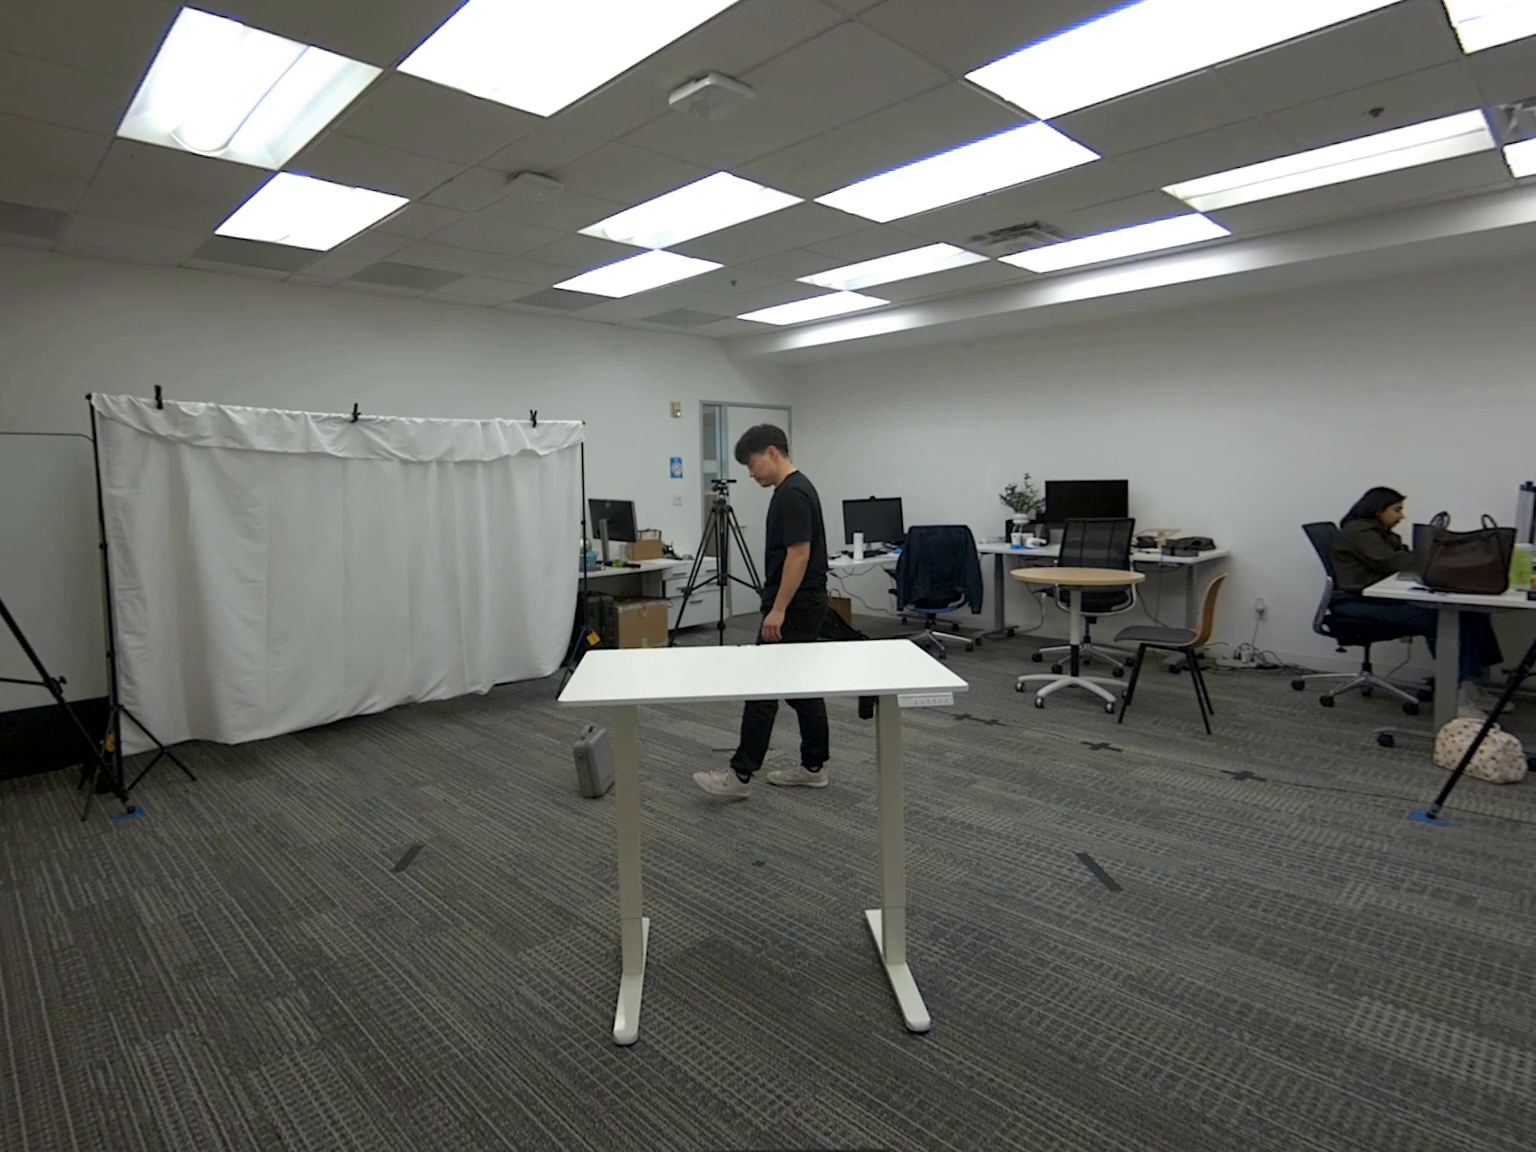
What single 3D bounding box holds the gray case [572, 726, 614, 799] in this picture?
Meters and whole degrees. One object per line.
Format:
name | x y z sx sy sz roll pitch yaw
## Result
gray case | -0.788 0.841 3.898 0.105 0.260 0.256 -9 3 7
